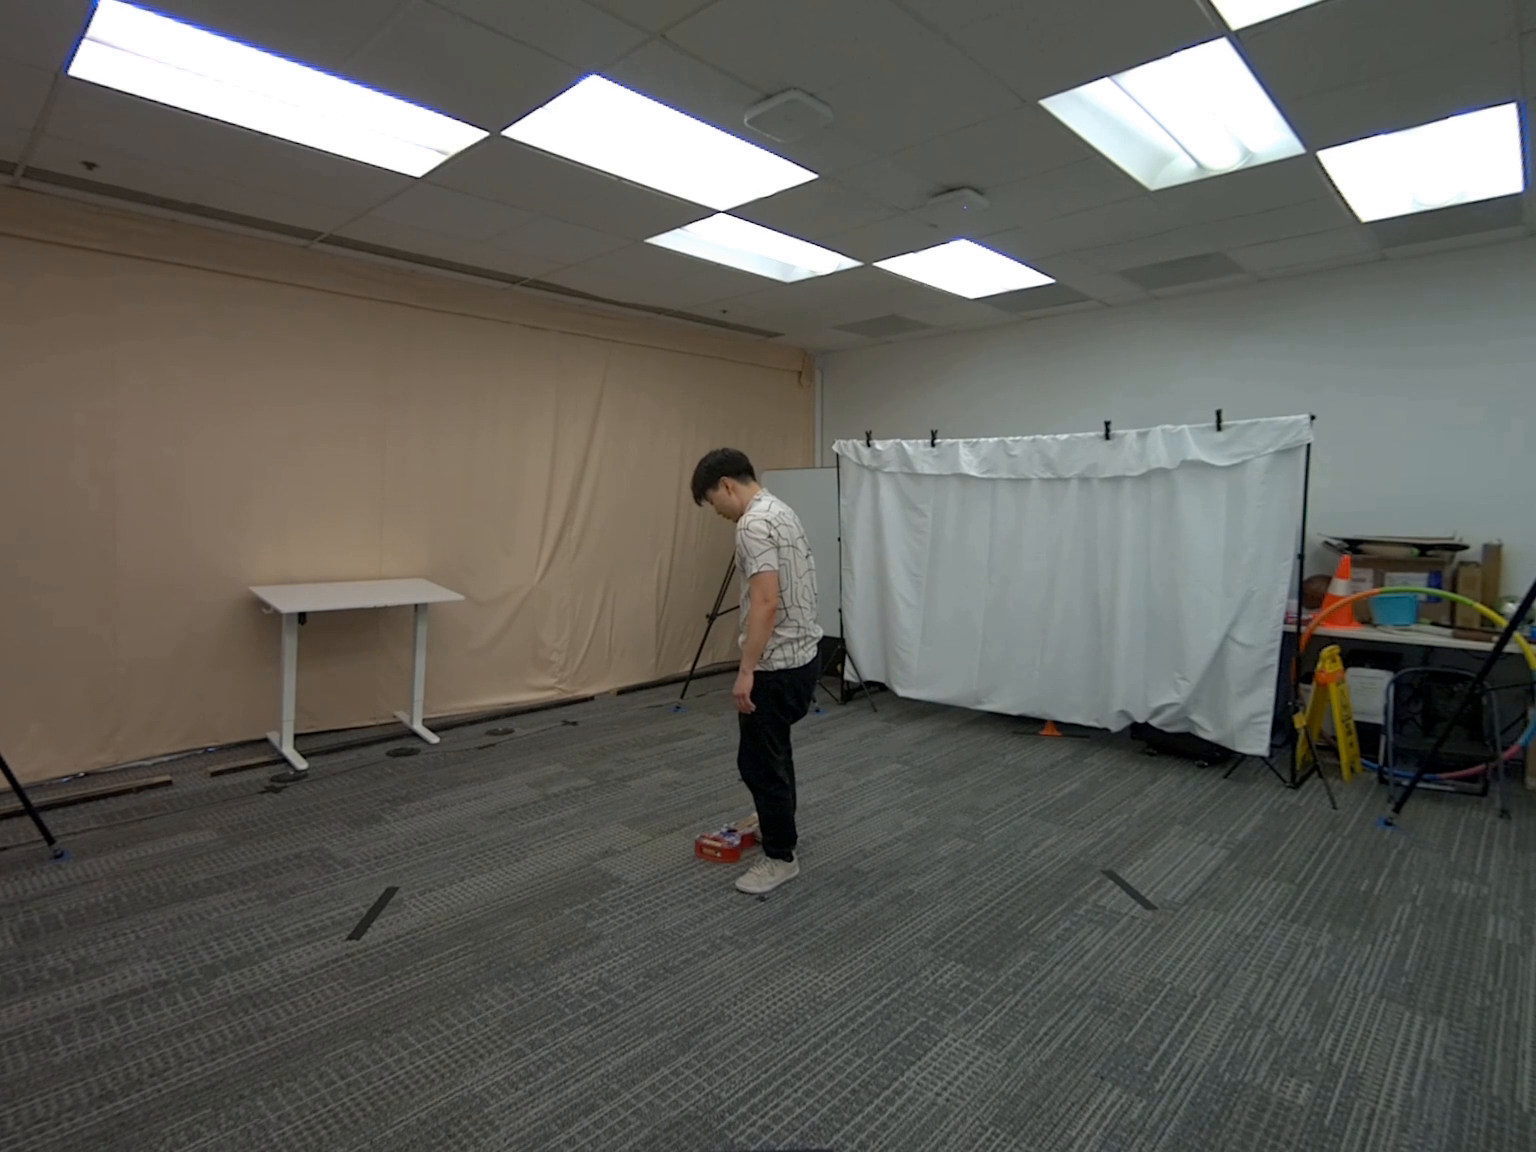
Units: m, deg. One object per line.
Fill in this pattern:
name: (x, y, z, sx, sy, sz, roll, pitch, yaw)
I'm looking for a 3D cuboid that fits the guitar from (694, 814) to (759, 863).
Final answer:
guitar: (-0.090, 1.066, 3.493, 0.199, 0.070, 0.483, 4, 7, 41)
